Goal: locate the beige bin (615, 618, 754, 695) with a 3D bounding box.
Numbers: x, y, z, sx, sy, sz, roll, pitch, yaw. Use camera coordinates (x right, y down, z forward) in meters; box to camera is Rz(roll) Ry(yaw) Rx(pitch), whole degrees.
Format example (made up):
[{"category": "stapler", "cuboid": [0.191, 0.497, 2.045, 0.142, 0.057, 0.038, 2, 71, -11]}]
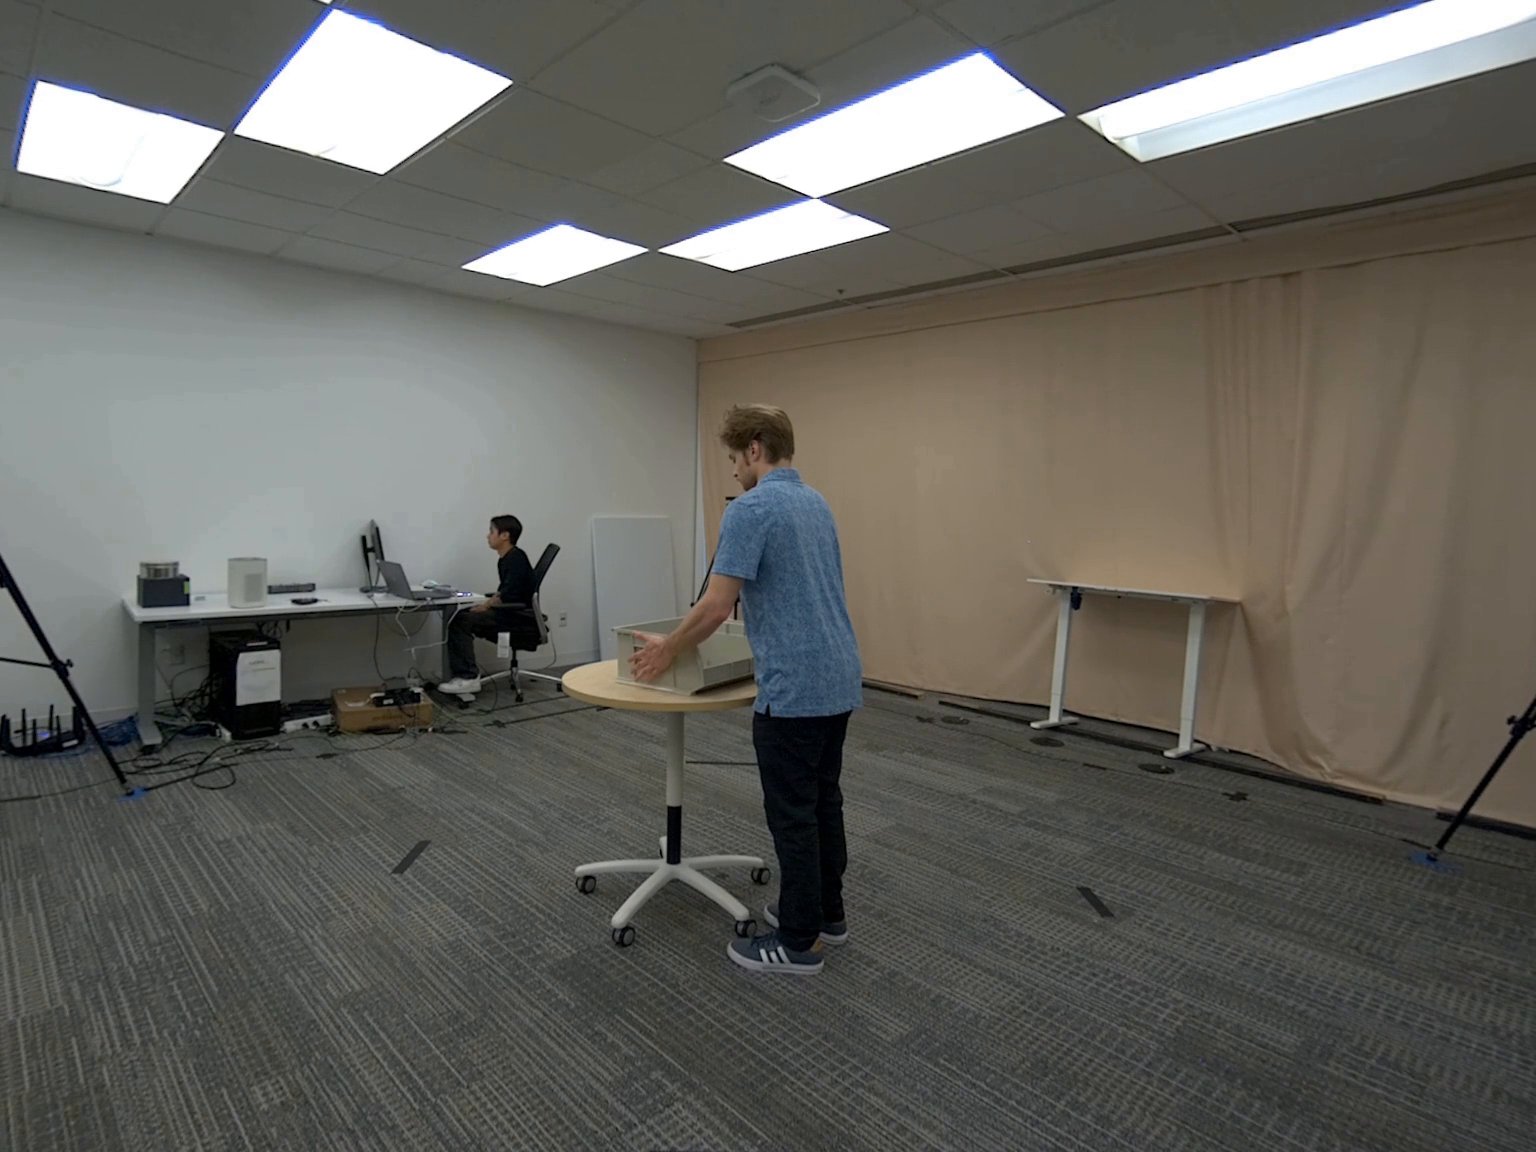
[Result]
[{"category": "beige bin", "cuboid": [-0.250, 0.258, 2.802, 0.386, 0.188, 0.414, 2, 5, 33]}]
